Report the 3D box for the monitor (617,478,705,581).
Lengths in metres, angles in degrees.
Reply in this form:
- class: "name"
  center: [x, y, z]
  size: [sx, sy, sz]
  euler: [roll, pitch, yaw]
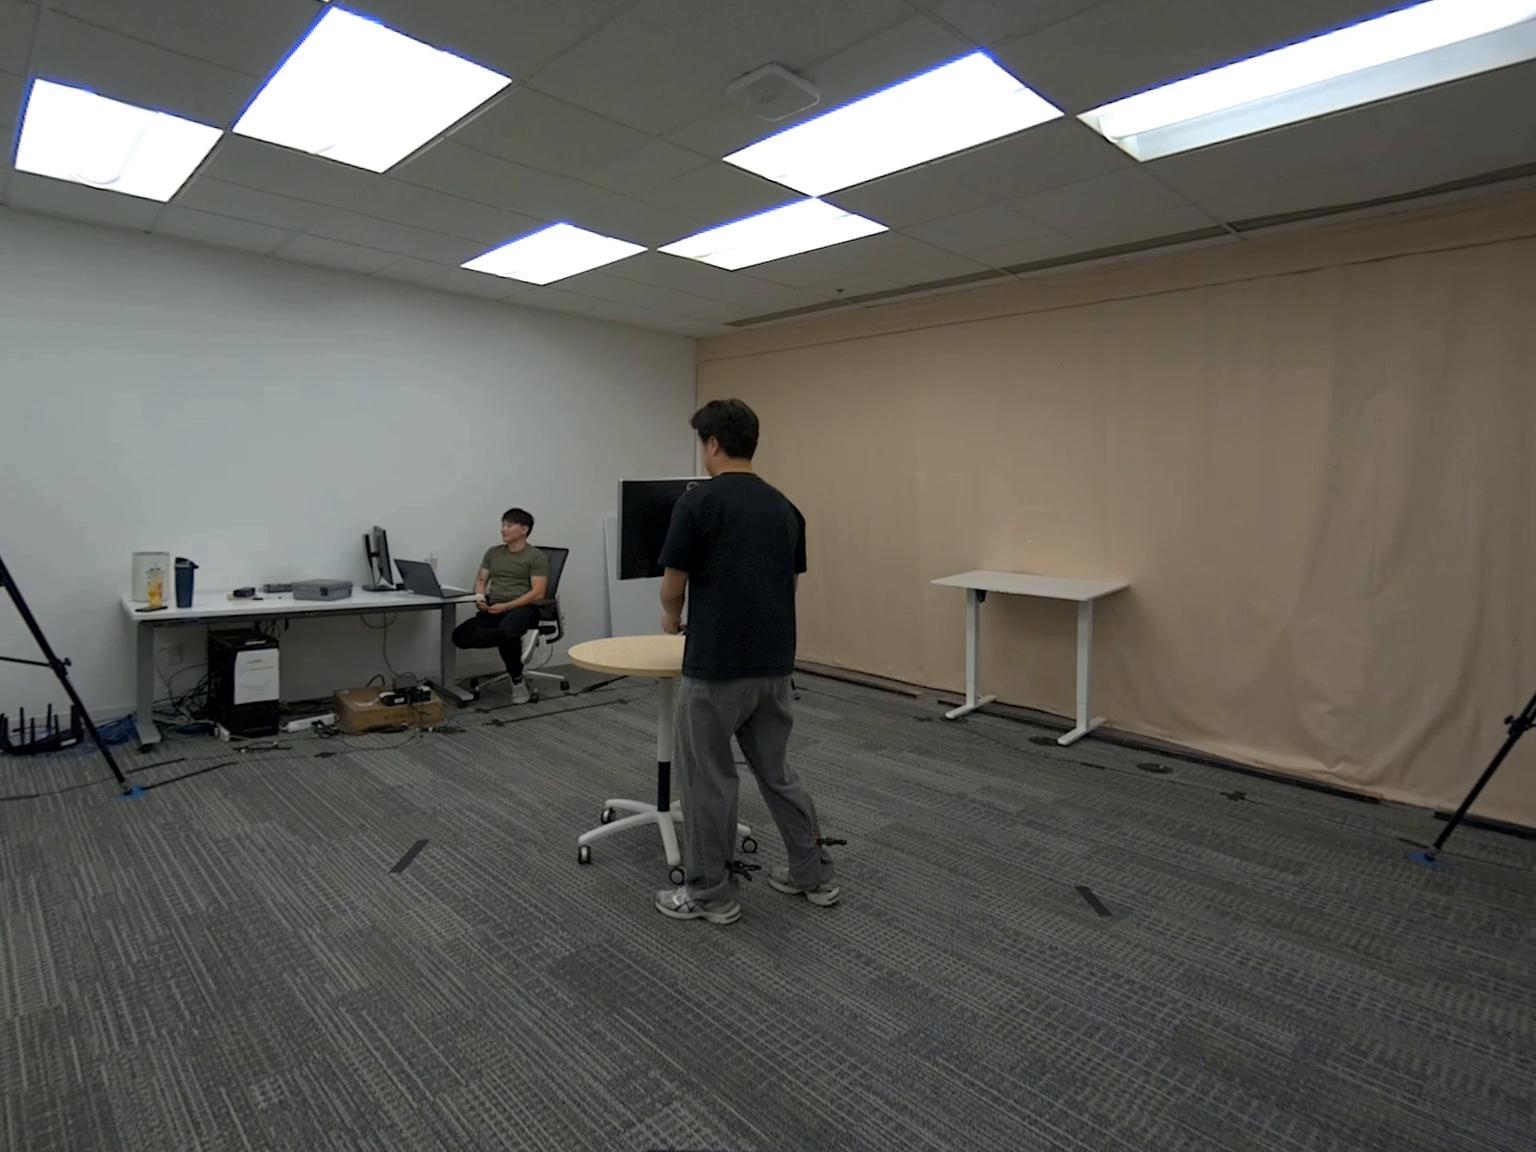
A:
- class: "monitor"
  center: [-0.269, -0.079, 3.090]
  size: [0.551, 0.567, 0.225]
  euler: [-5, -4, -29]
